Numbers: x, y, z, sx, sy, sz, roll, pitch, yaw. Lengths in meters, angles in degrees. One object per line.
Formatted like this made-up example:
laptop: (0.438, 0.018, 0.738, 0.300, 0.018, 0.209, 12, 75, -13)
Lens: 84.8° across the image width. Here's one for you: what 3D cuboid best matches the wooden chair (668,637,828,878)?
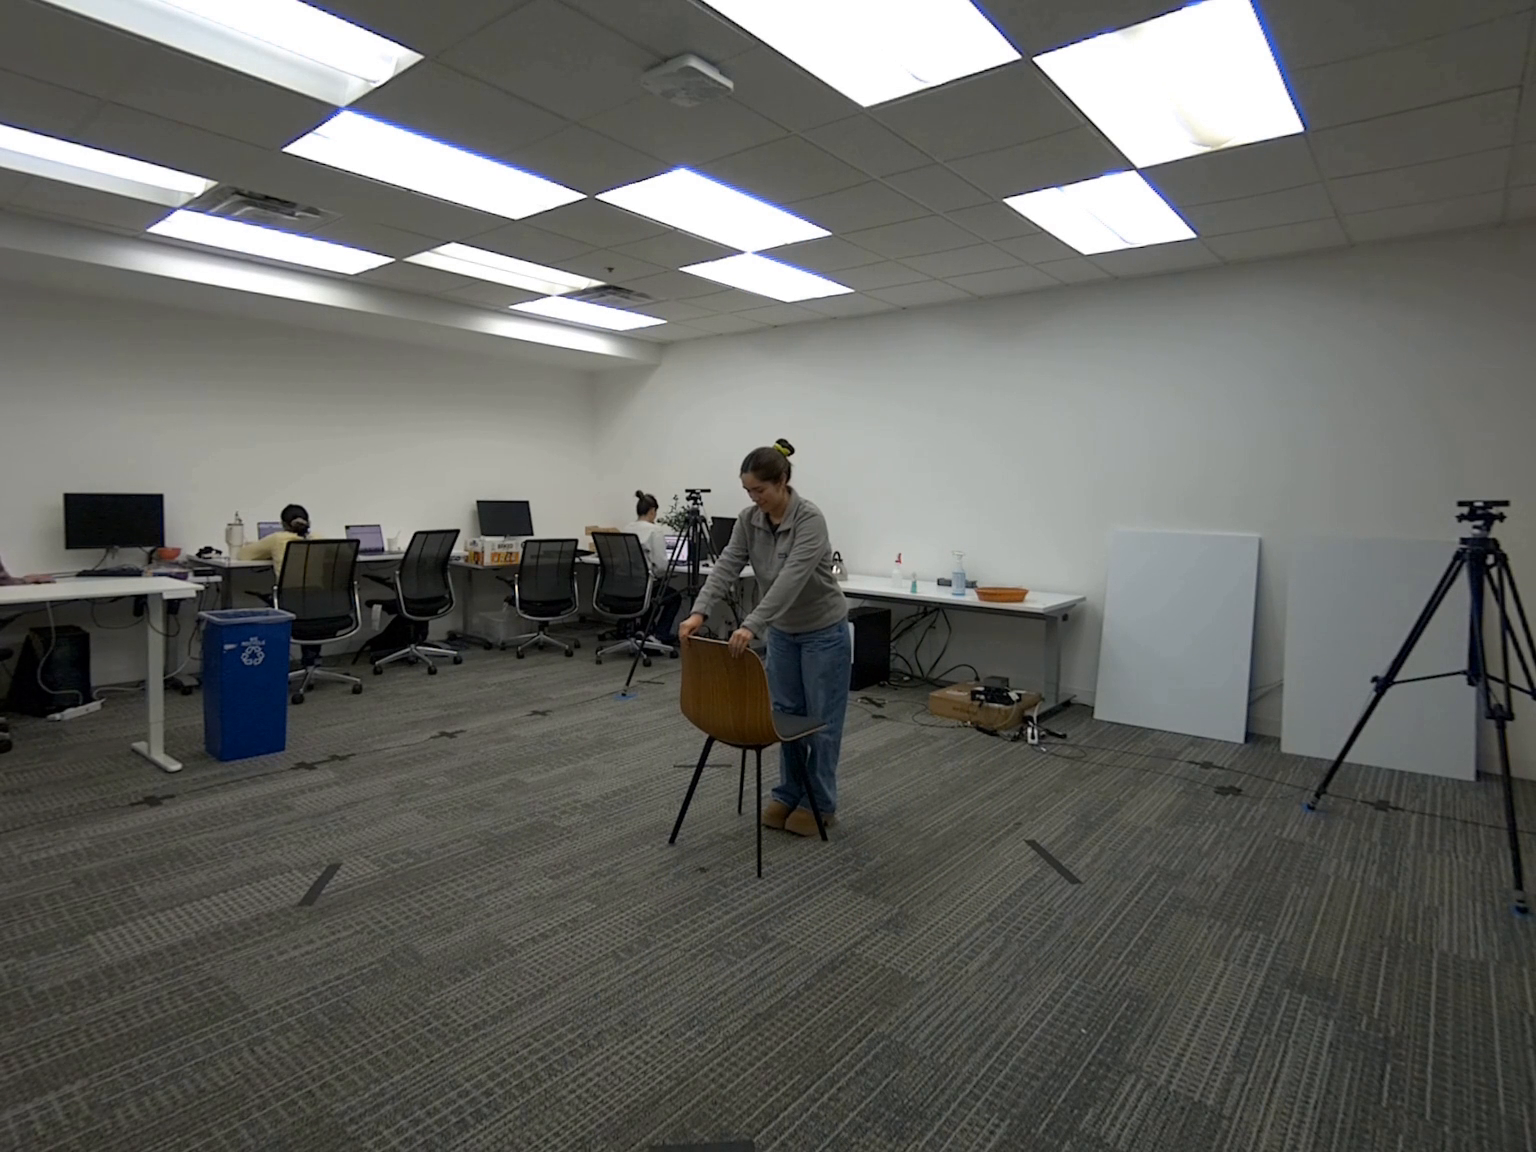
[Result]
wooden chair: (-0.077, 0.628, 3.343, 0.494, 0.872, 0.509, 4, 8, 38)
